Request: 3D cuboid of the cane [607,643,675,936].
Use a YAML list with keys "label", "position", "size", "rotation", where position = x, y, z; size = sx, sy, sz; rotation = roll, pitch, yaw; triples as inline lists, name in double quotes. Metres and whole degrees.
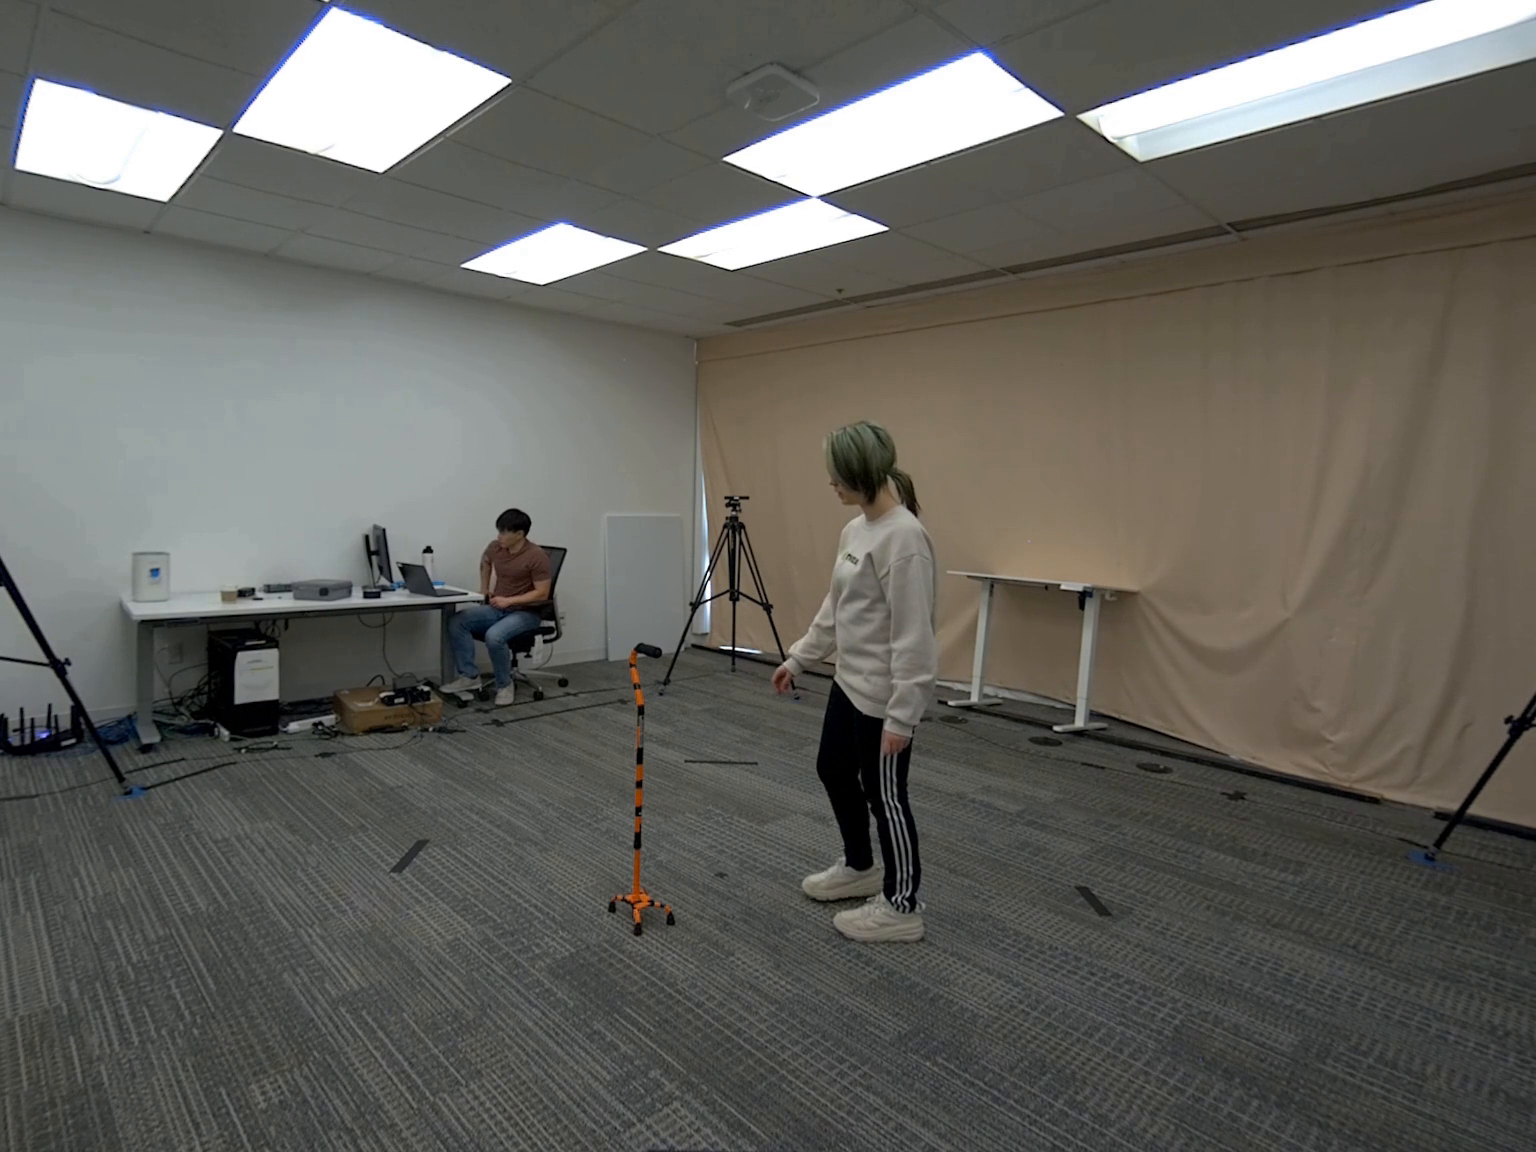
- label: "cane"
  position: [-0.419, 0.675, 2.759]
  size: [0.148, 0.906, 0.211]
  rotation: [-1, 3, -37]
